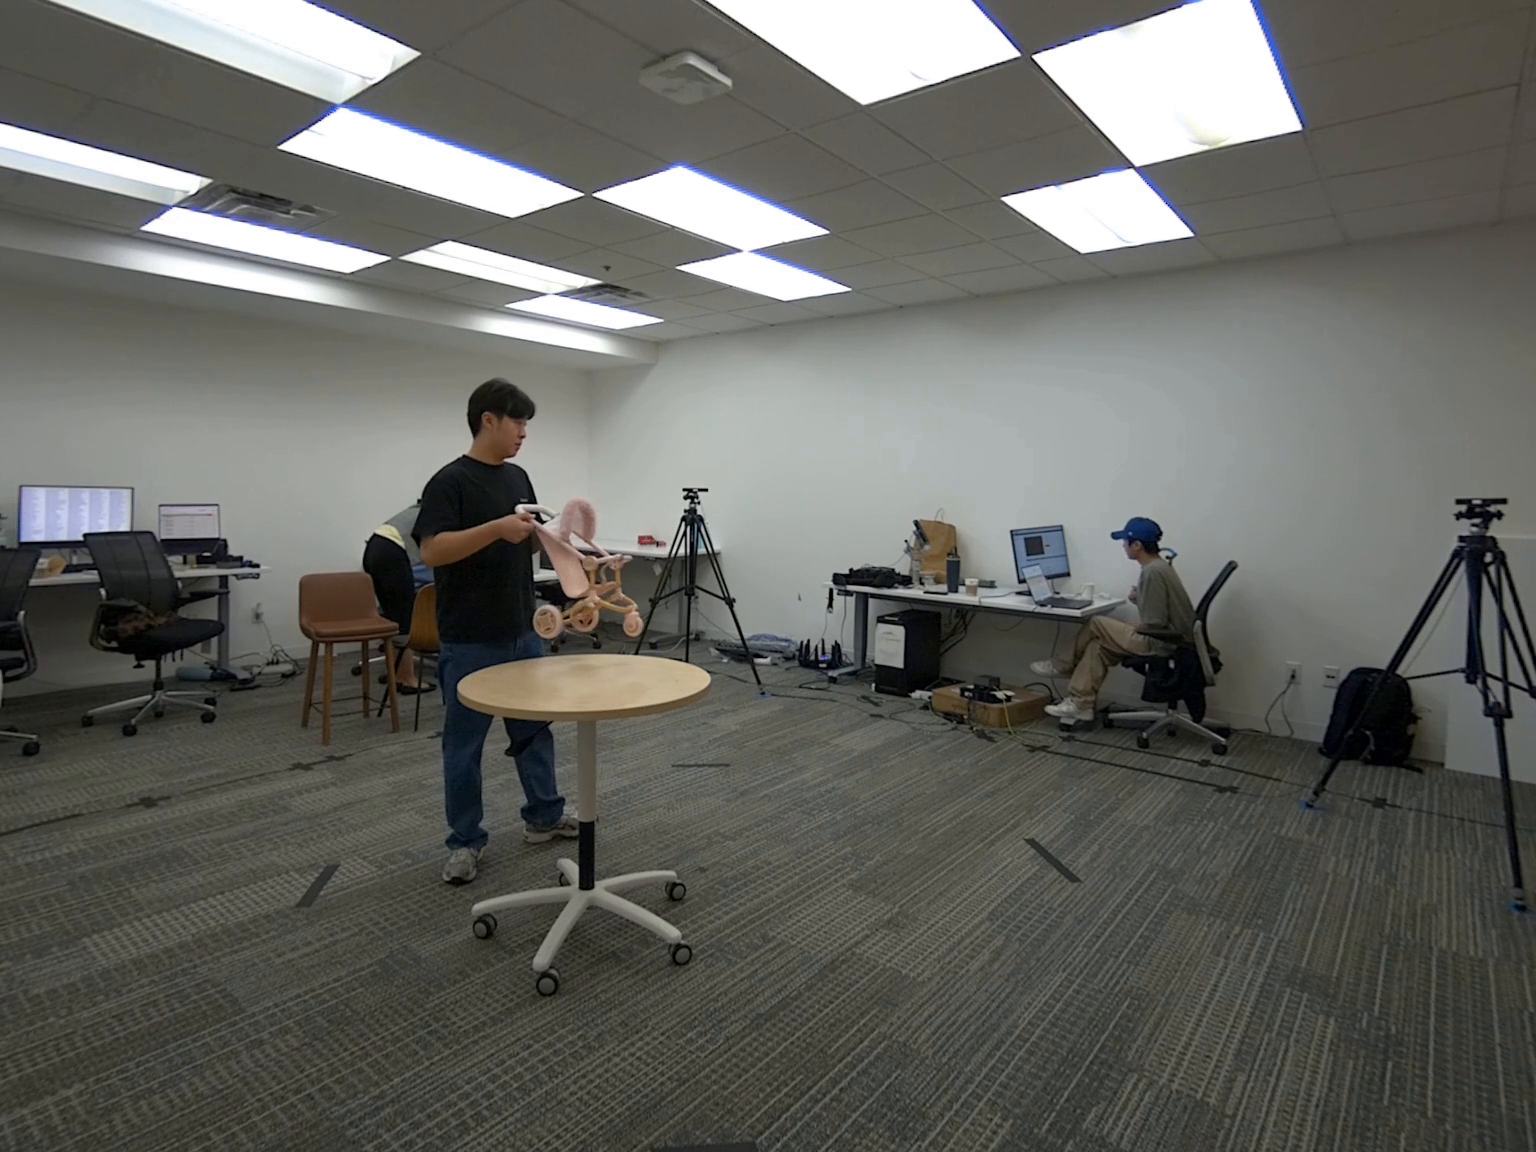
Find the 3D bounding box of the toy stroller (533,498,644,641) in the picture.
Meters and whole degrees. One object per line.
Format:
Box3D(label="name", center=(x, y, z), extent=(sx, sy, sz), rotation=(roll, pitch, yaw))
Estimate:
Box3D(label="toy stroller", center=(-0.637, -0.028, 2.868), extent=(0.347, 0.539, 0.275), rotation=(-17, -7, 22))
